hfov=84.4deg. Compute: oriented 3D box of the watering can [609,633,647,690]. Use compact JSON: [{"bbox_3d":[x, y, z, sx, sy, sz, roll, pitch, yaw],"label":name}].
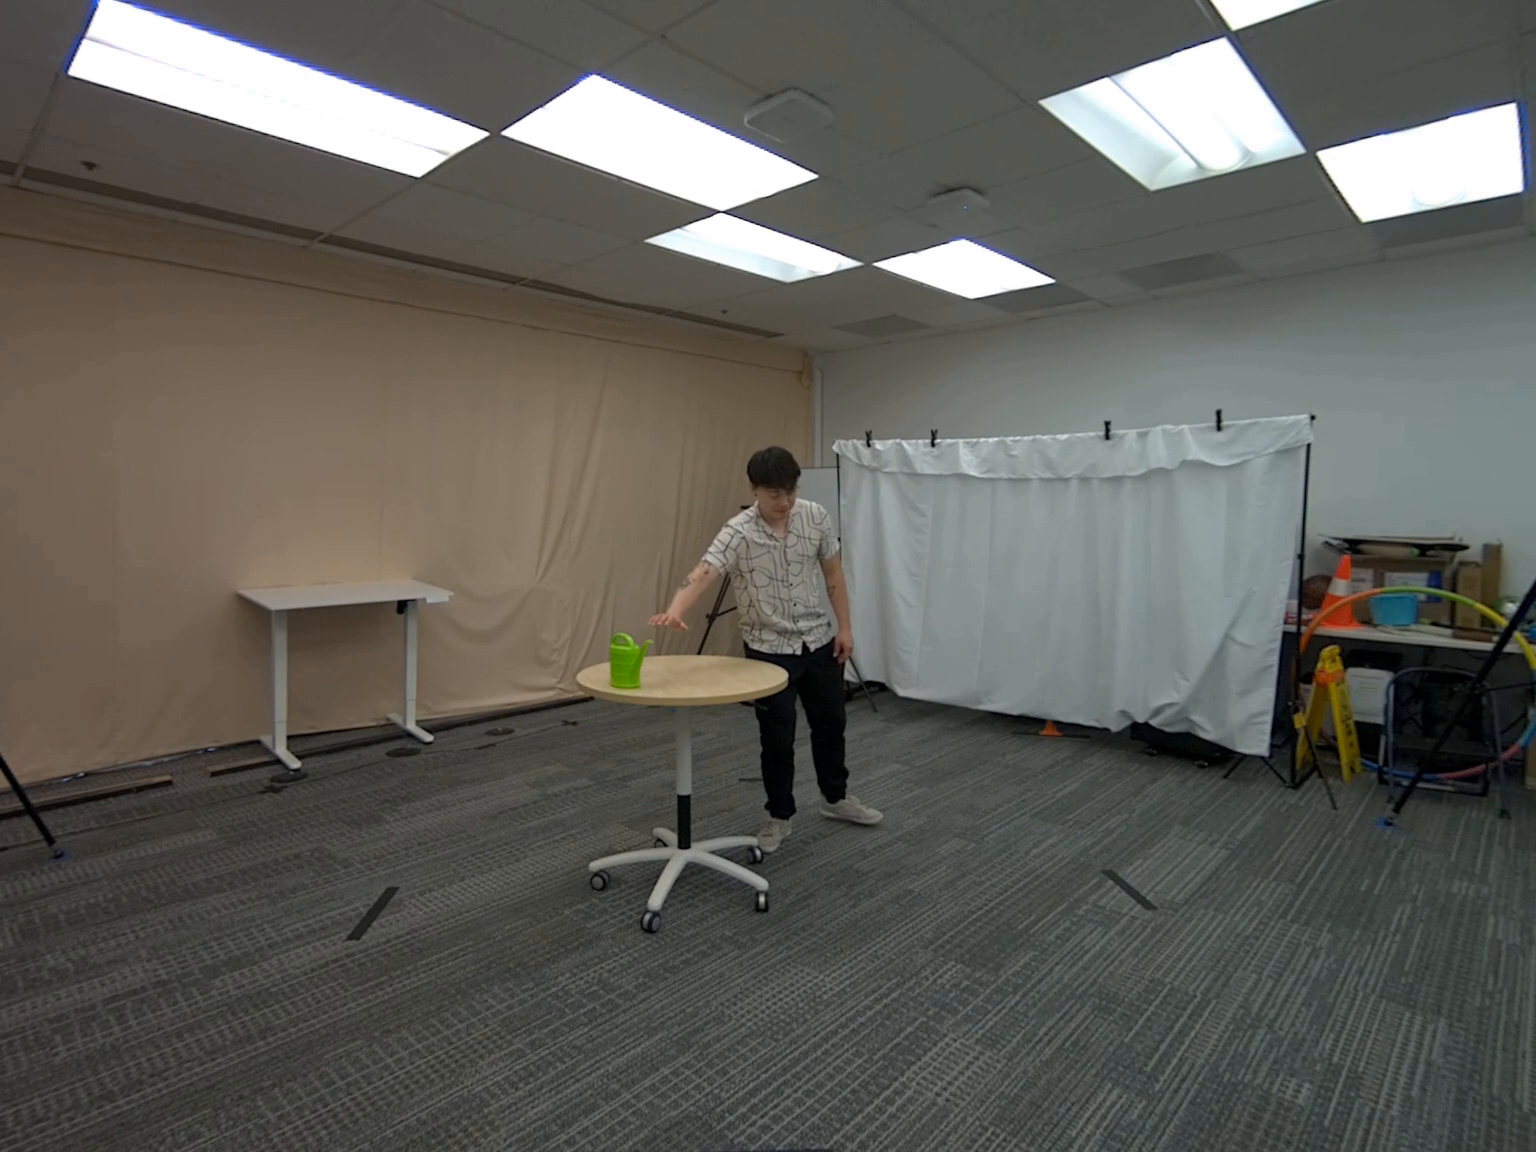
[{"bbox_3d":[-0.462,0.288,2.813,0.096,0.177,0.284,2,1,-22],"label":"watering can"}]
